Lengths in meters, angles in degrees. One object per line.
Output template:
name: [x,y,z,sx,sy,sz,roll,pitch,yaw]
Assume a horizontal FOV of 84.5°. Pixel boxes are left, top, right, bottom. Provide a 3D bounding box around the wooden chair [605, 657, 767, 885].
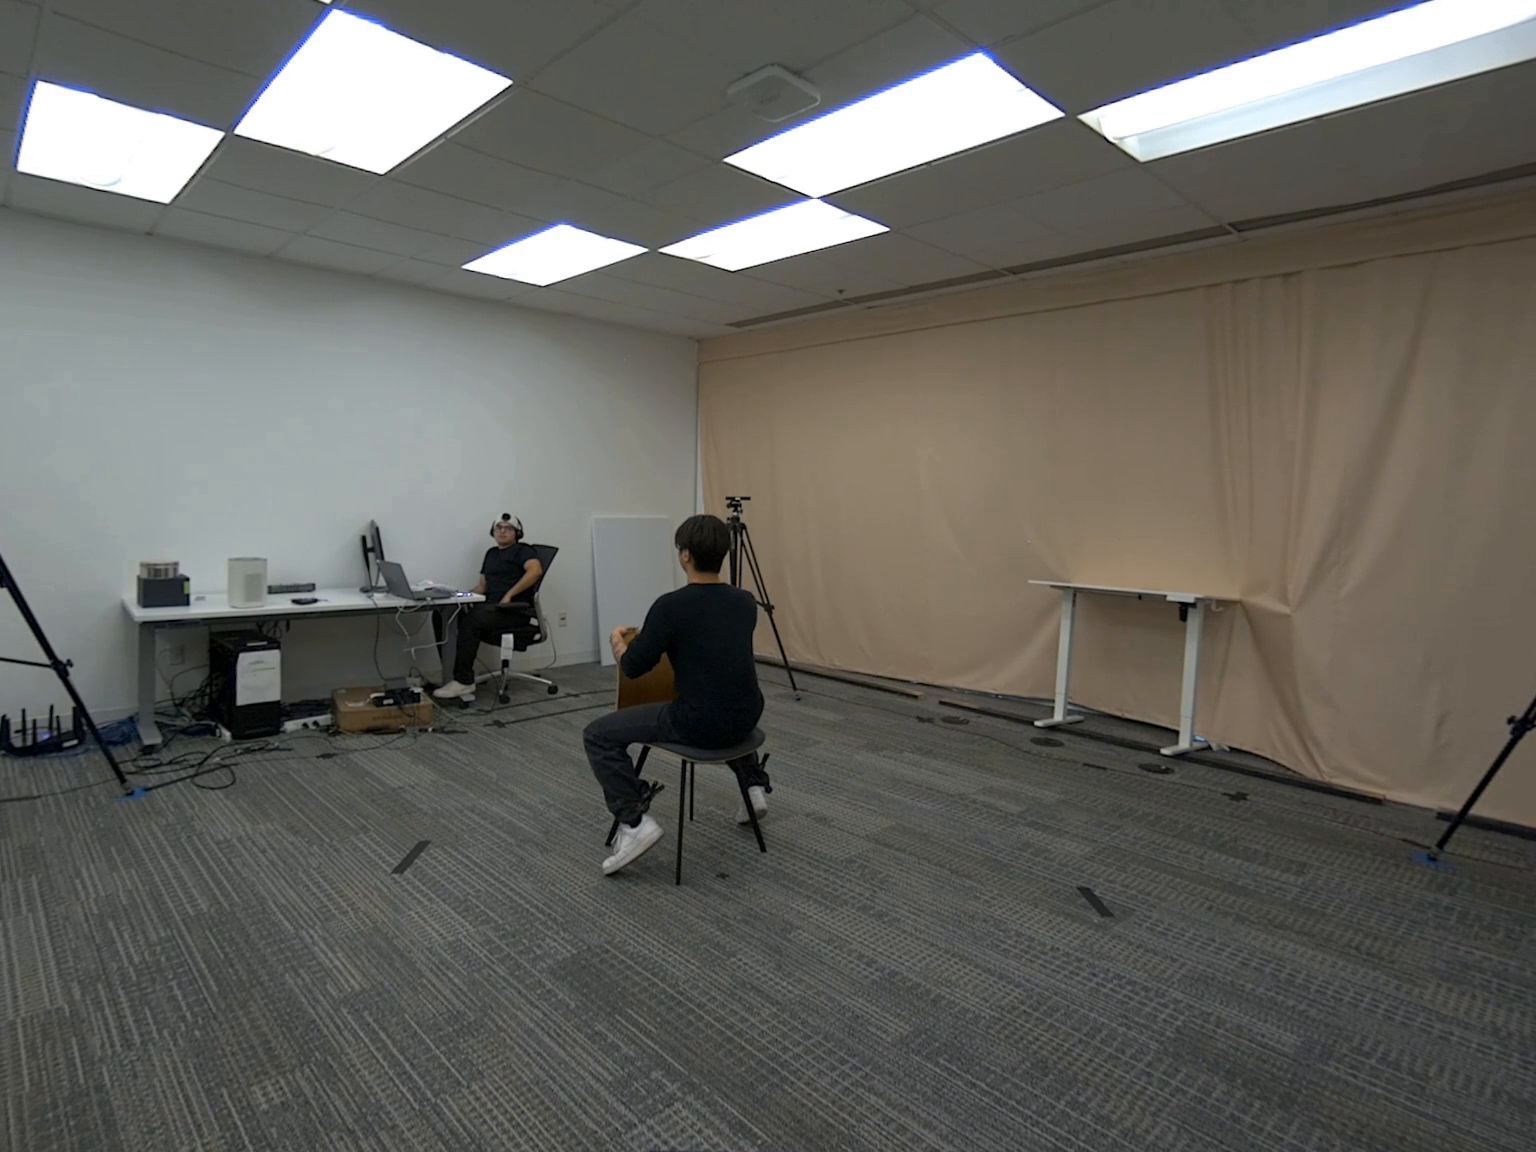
wooden chair: [-0.314,0.659,3.296,0.467,0.877,0.535,-2,1,-44]
